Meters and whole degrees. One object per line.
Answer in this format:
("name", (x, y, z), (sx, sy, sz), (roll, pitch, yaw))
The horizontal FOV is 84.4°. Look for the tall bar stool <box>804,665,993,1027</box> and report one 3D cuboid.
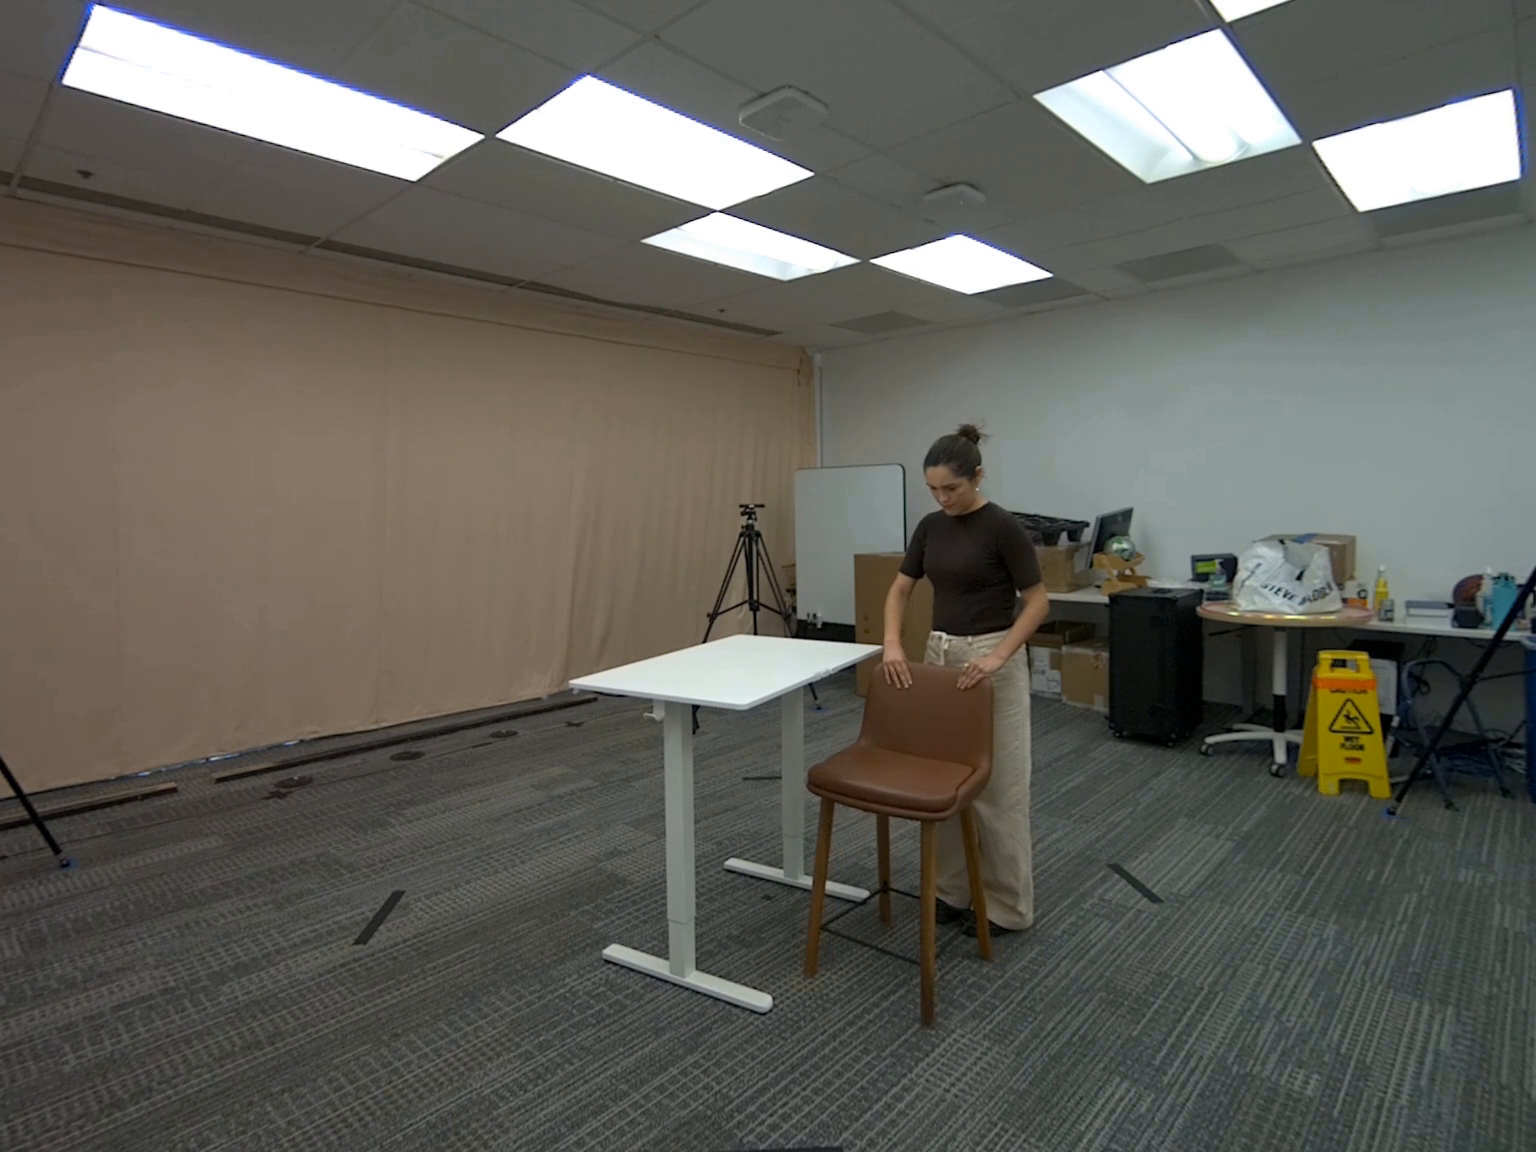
("tall bar stool", (0.412, 0.735, 2.501), (0.471, 0.889, 0.453), (2, 2, 39))
